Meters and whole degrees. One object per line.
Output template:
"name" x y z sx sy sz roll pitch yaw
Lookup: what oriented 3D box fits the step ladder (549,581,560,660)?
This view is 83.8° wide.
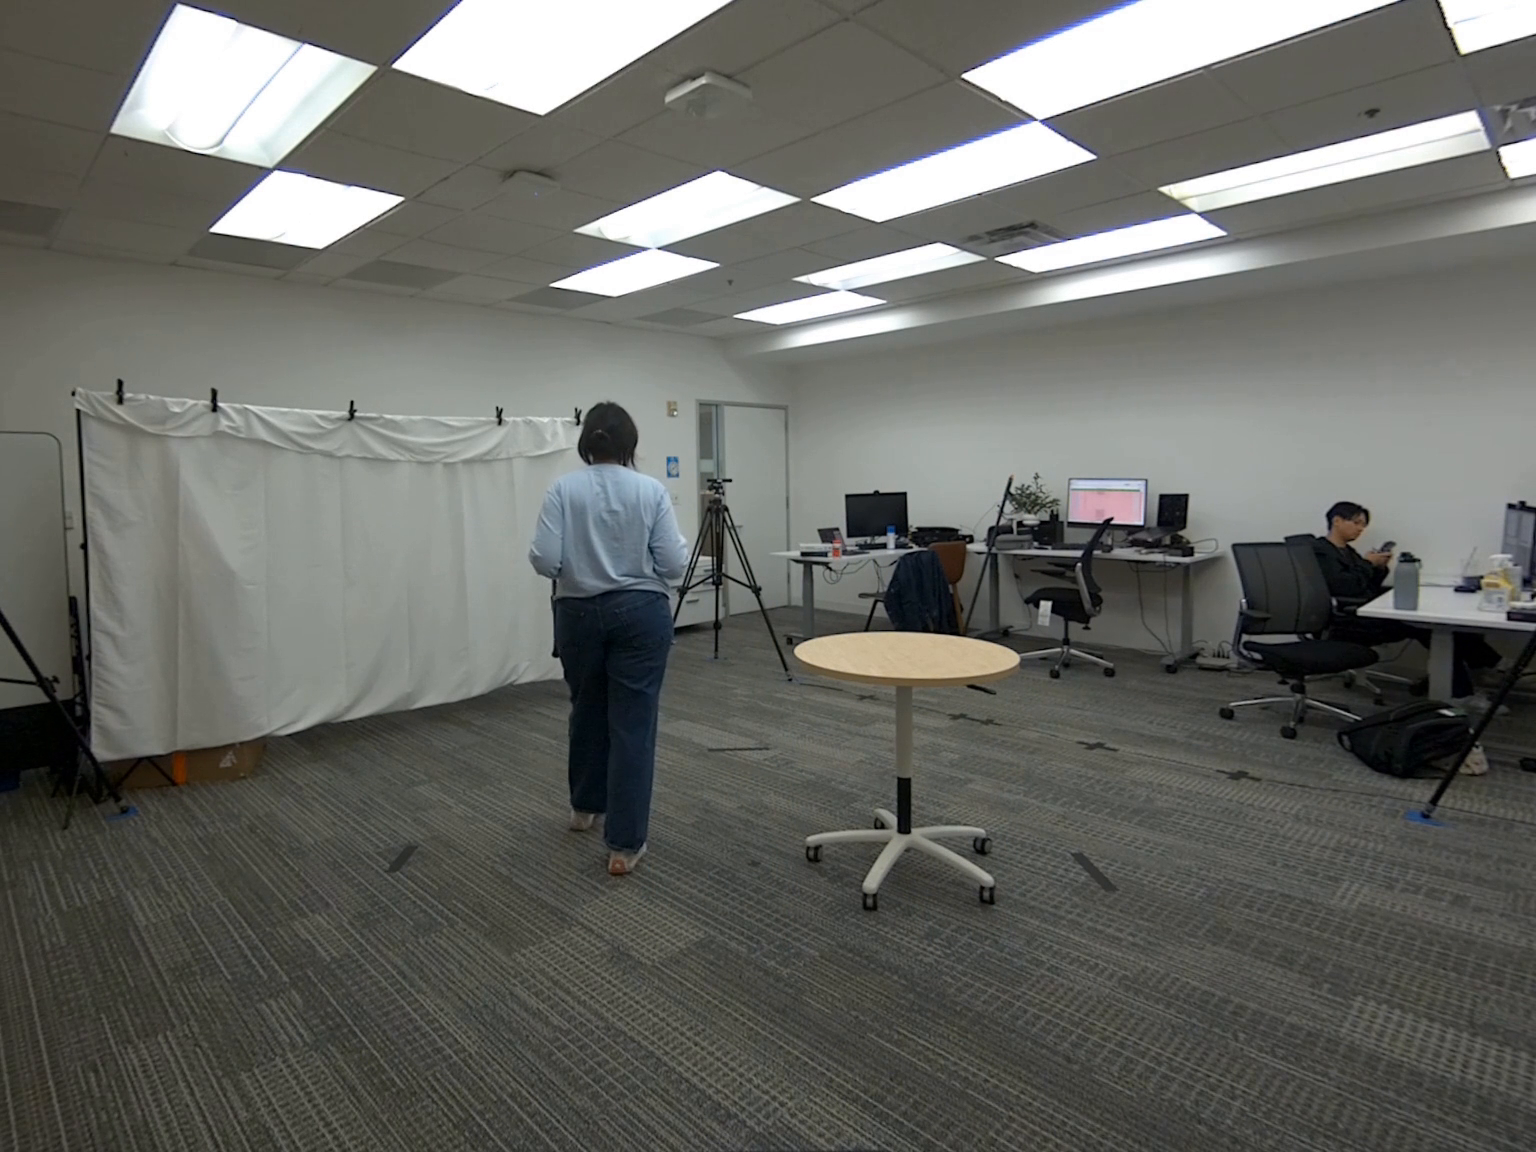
"step ladder" -0.640 -0.049 3.374 0.425 0.595 0.360 -1 26 -14
